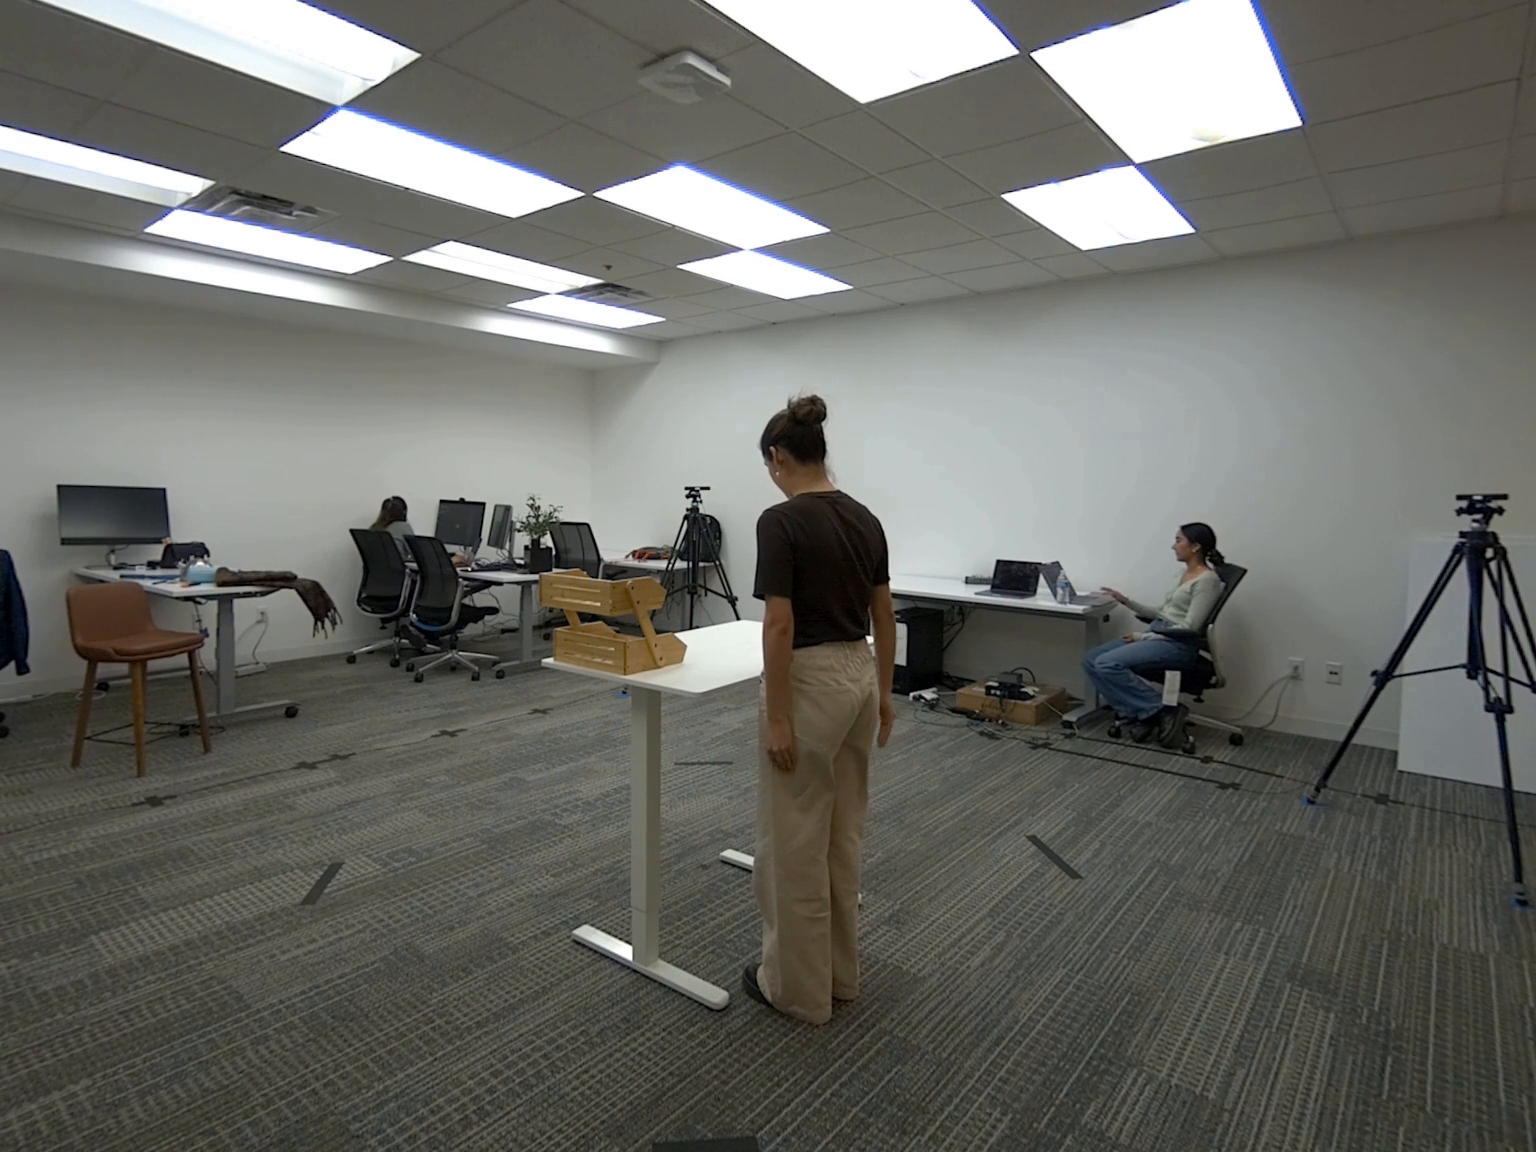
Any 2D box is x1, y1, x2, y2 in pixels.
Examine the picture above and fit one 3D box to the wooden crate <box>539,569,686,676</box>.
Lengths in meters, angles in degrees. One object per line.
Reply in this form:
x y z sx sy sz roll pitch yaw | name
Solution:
-0.453 0.115 2.455 0.335 0.272 0.294 4 7 37 | wooden crate
